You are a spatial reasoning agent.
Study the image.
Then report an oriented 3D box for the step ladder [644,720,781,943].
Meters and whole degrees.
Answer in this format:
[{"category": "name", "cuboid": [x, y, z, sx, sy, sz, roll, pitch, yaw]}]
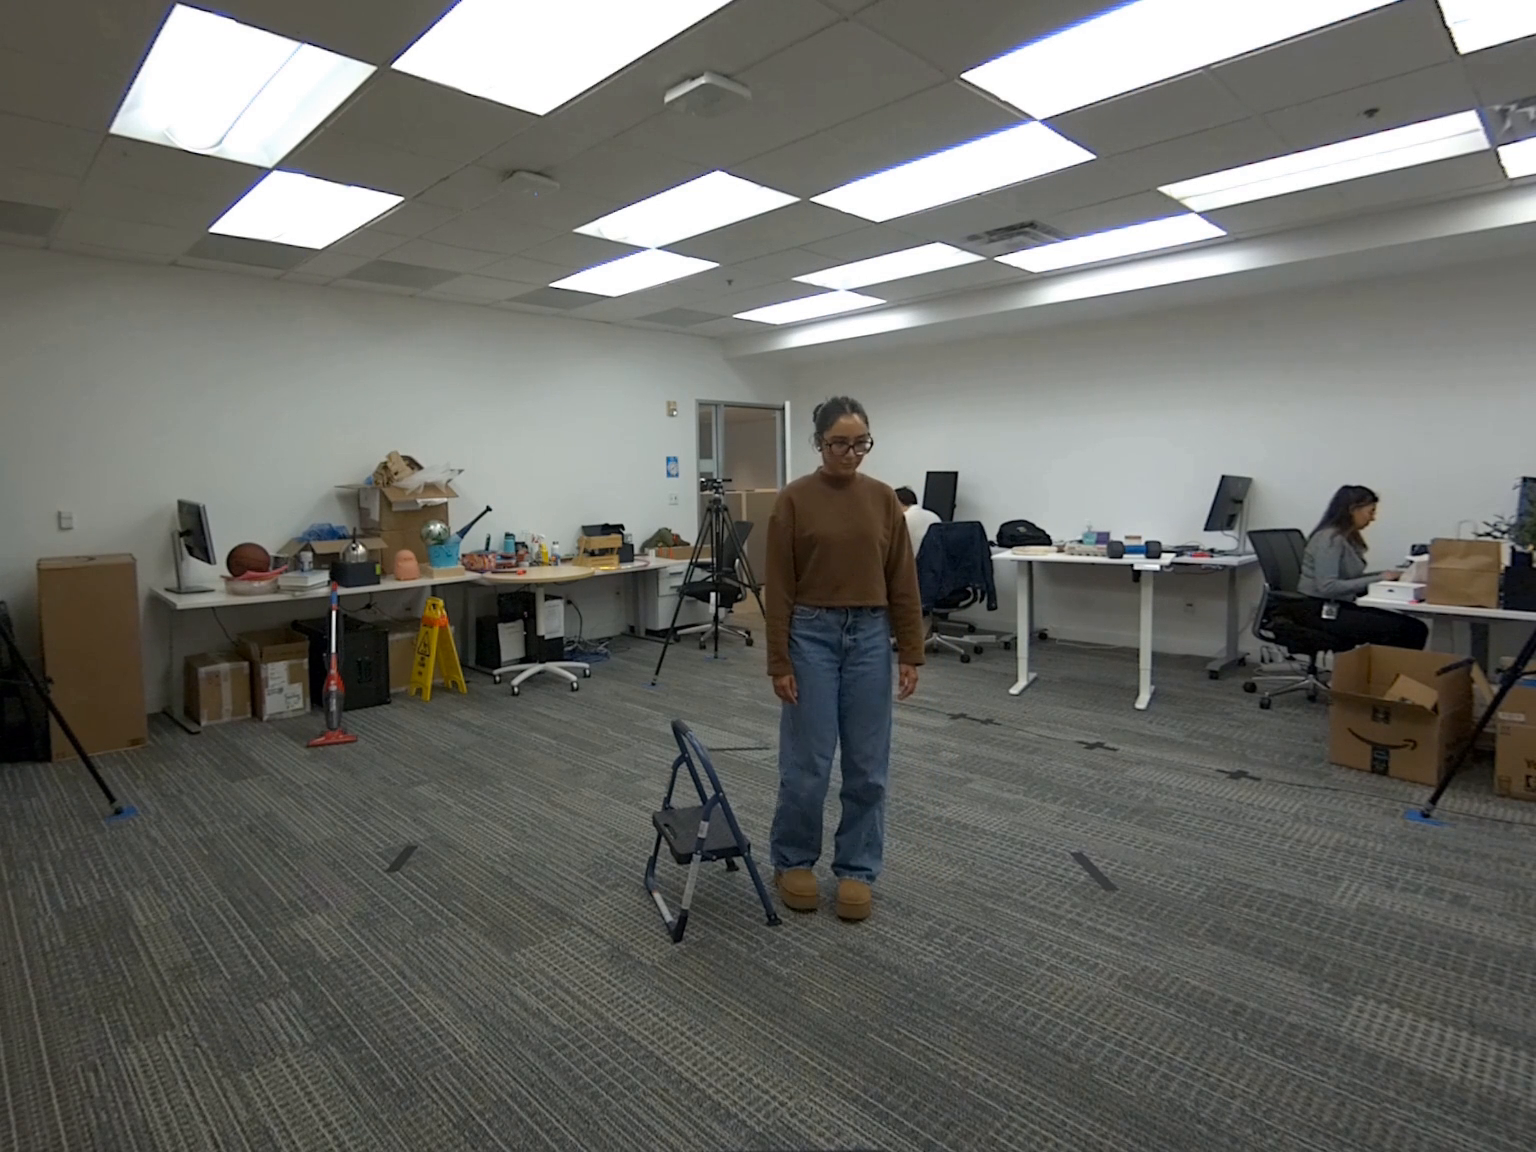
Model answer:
[{"category": "step ladder", "cuboid": [-0.195, 0.781, 2.804, 0.343, 0.604, 0.440, -2, 5, -21]}]
